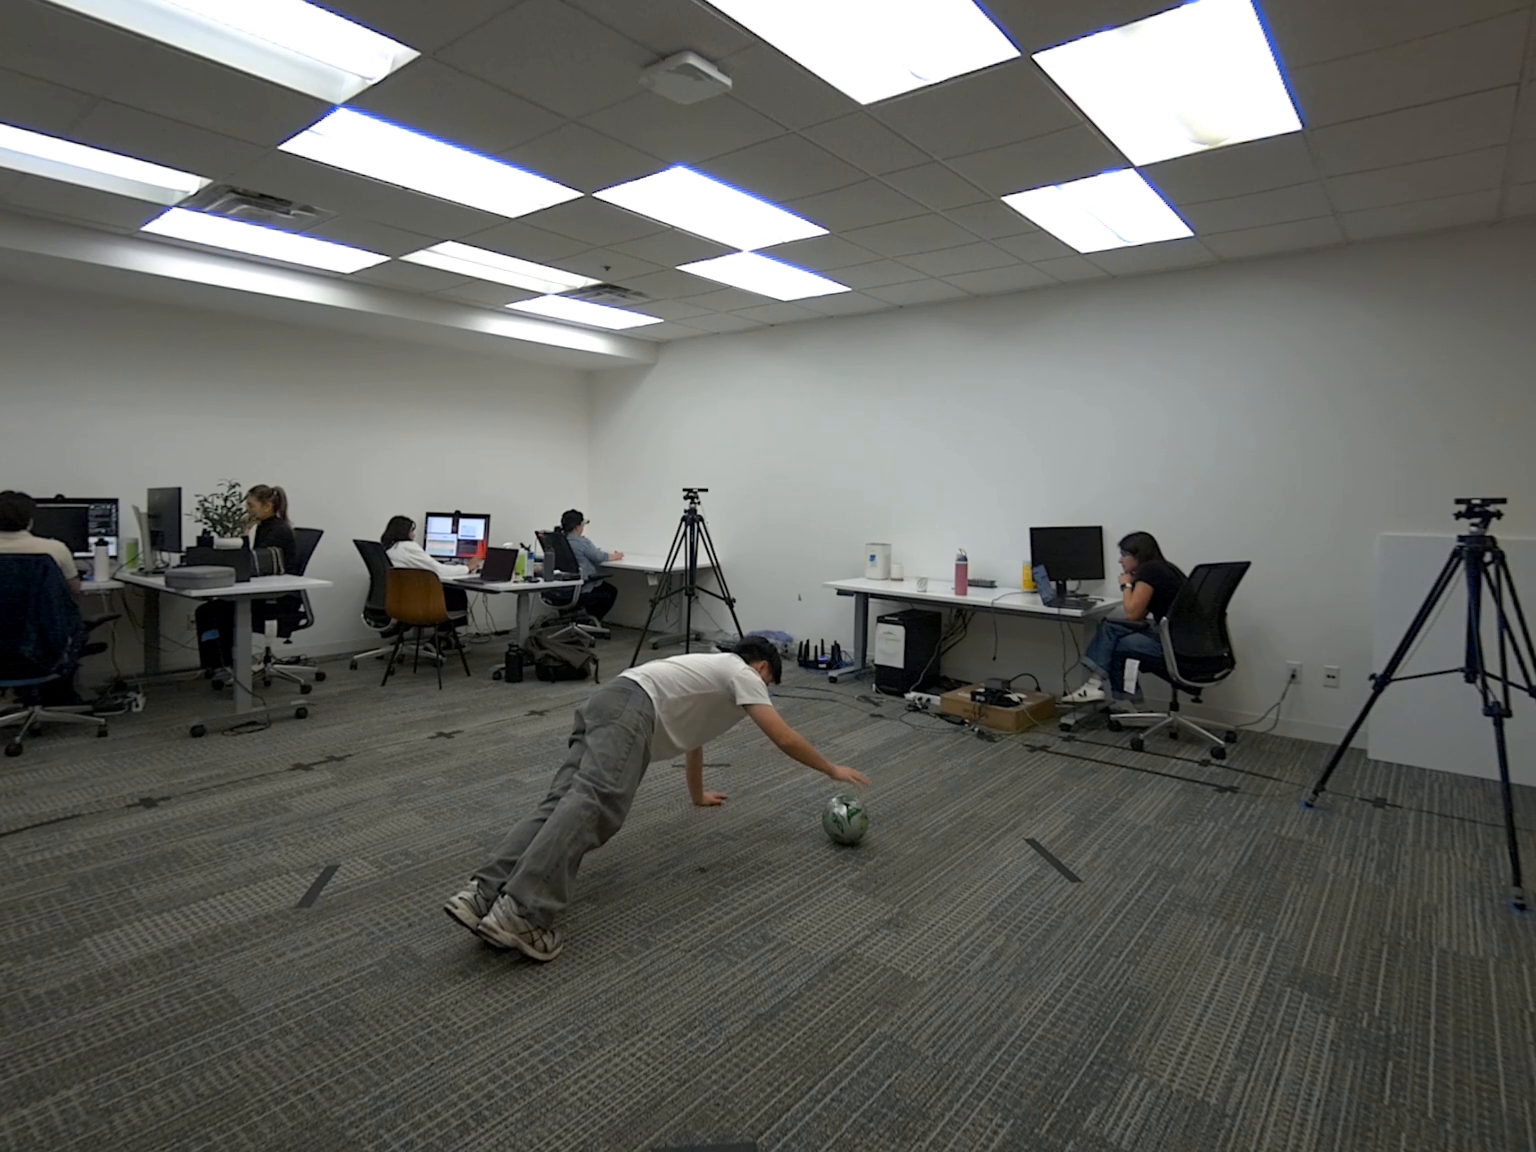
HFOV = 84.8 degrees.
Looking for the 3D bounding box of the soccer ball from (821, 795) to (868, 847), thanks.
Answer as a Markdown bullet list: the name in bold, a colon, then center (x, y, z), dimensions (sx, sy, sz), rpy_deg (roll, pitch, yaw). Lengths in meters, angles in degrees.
- **soccer ball**: center (0.308, 0.961, 3.377), dimensions (0.187, 0.187, 0.188), rpy_deg (1, 4, -2)
